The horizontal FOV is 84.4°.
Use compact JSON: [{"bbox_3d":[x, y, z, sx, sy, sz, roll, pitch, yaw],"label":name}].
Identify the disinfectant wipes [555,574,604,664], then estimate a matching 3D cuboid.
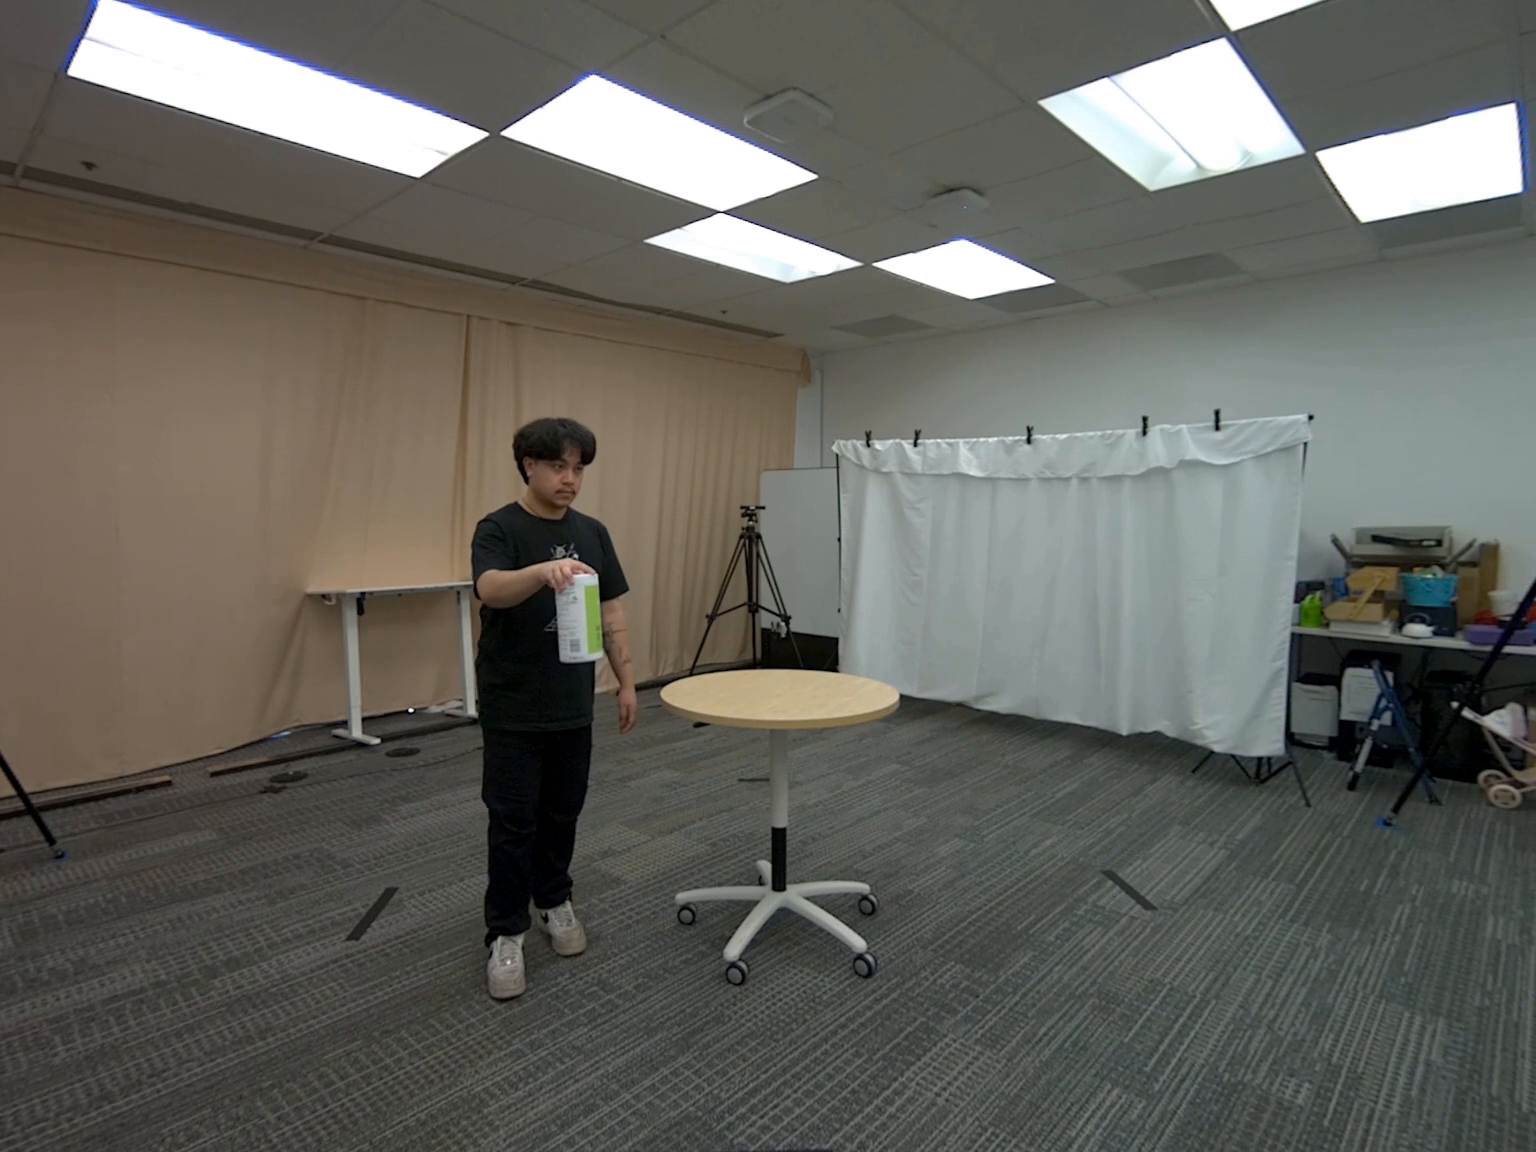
[{"bbox_3d":[-0.478,0.106,2.098,0.118,0.217,0.118,-5,0,-2],"label":"disinfectant wipes"}]
